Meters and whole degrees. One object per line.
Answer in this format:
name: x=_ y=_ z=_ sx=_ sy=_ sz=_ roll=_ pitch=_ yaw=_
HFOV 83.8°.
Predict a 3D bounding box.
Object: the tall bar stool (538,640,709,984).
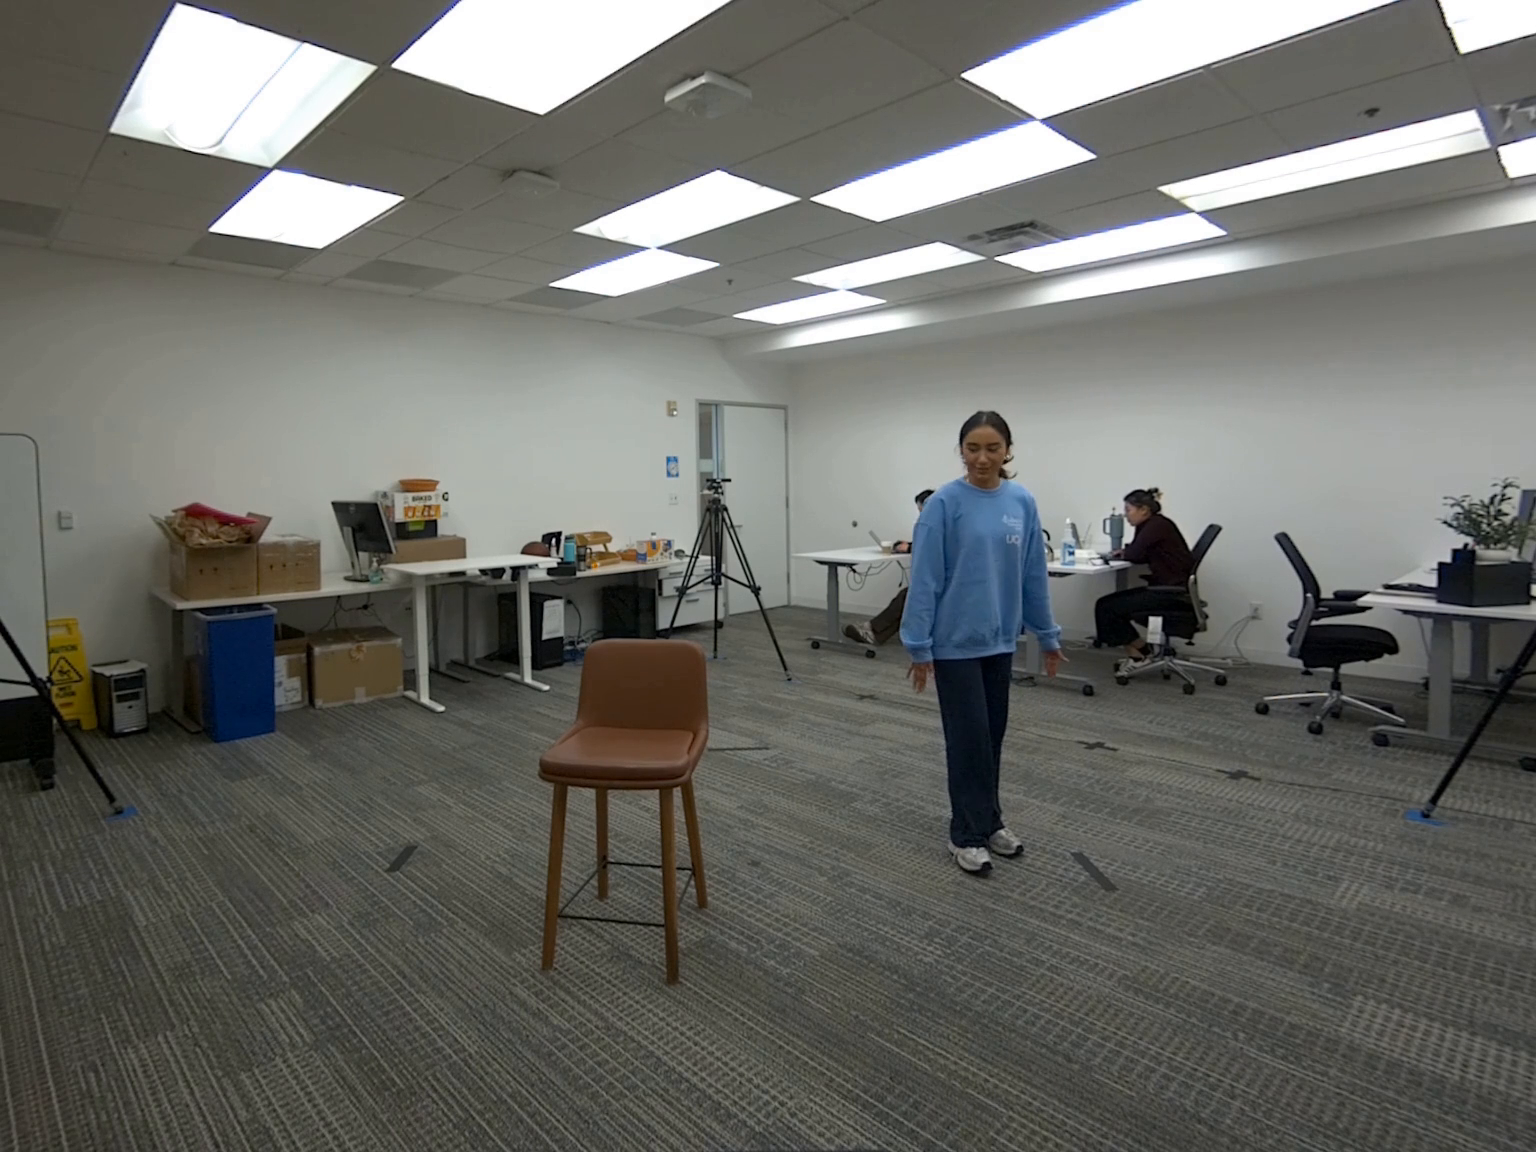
tall bar stool: x=-0.421 y=0.677 z=2.607 sx=0.462 sy=0.887 sz=0.463 roll=0 pitch=3 yaw=12
